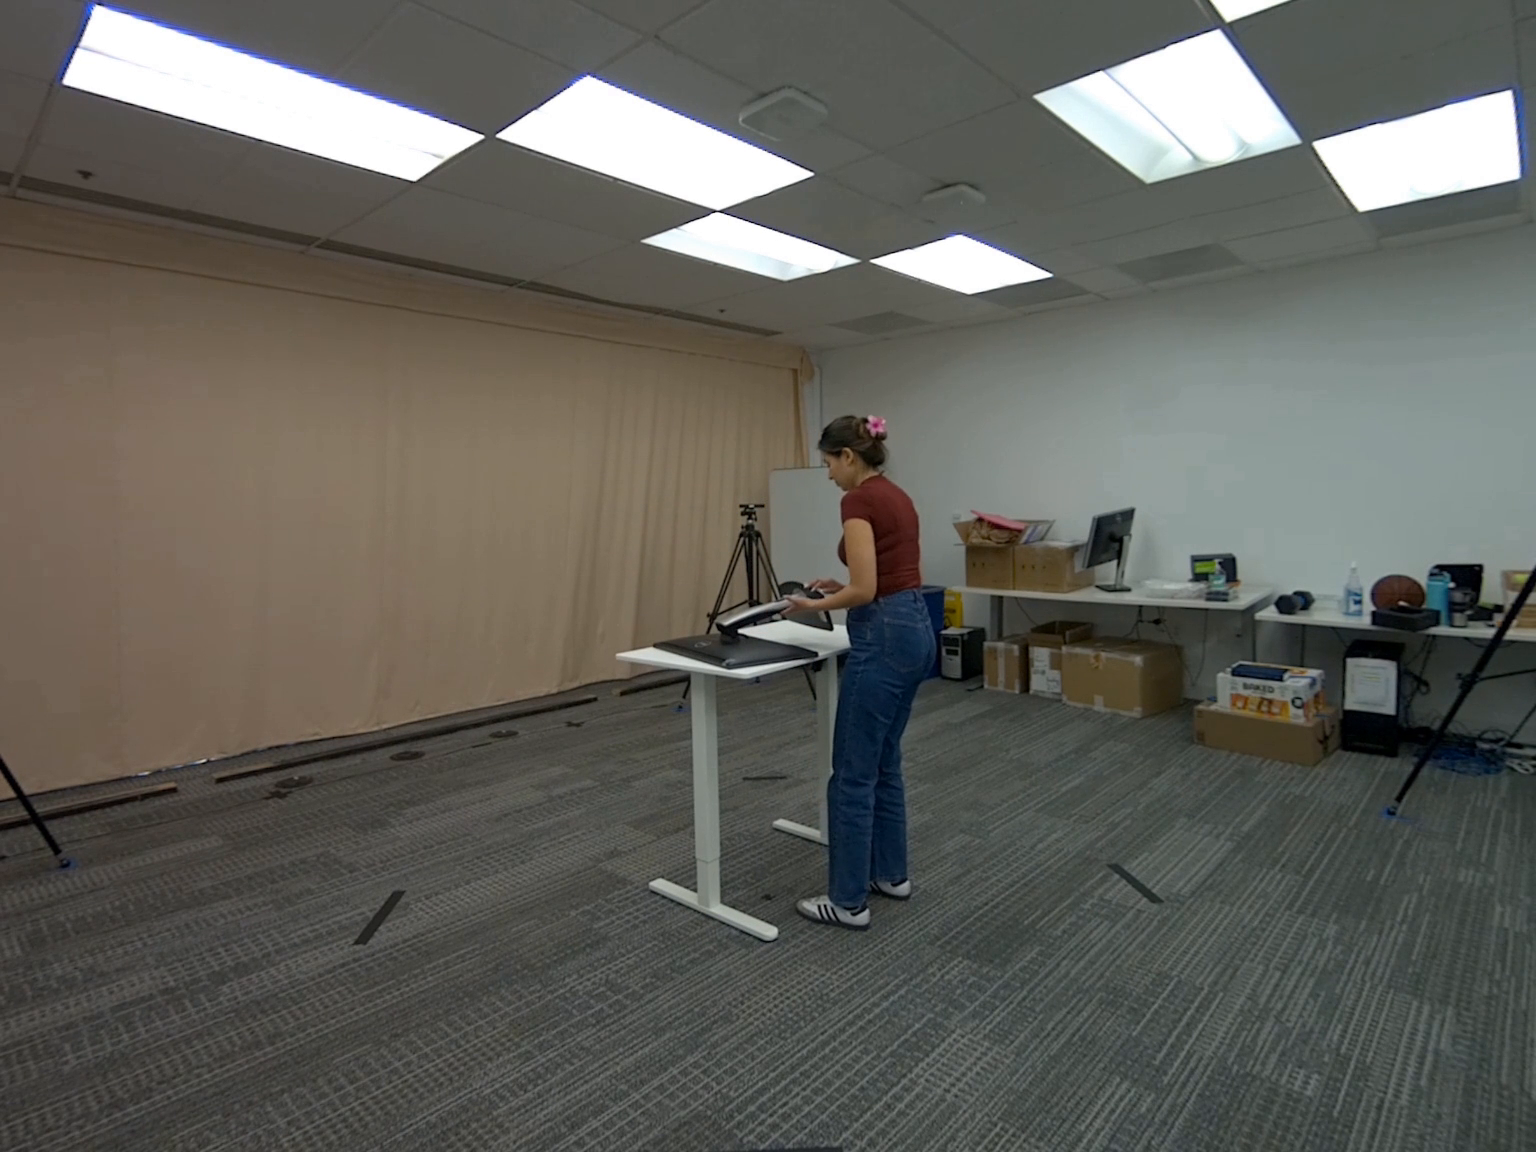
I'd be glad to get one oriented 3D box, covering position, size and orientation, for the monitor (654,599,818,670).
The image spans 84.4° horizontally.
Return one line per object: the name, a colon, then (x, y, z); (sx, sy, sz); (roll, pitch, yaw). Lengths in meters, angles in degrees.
monitor: (-0.059, 0.198, 2.977); (0.513, 0.185, 0.554); (-25, 14, -27)
